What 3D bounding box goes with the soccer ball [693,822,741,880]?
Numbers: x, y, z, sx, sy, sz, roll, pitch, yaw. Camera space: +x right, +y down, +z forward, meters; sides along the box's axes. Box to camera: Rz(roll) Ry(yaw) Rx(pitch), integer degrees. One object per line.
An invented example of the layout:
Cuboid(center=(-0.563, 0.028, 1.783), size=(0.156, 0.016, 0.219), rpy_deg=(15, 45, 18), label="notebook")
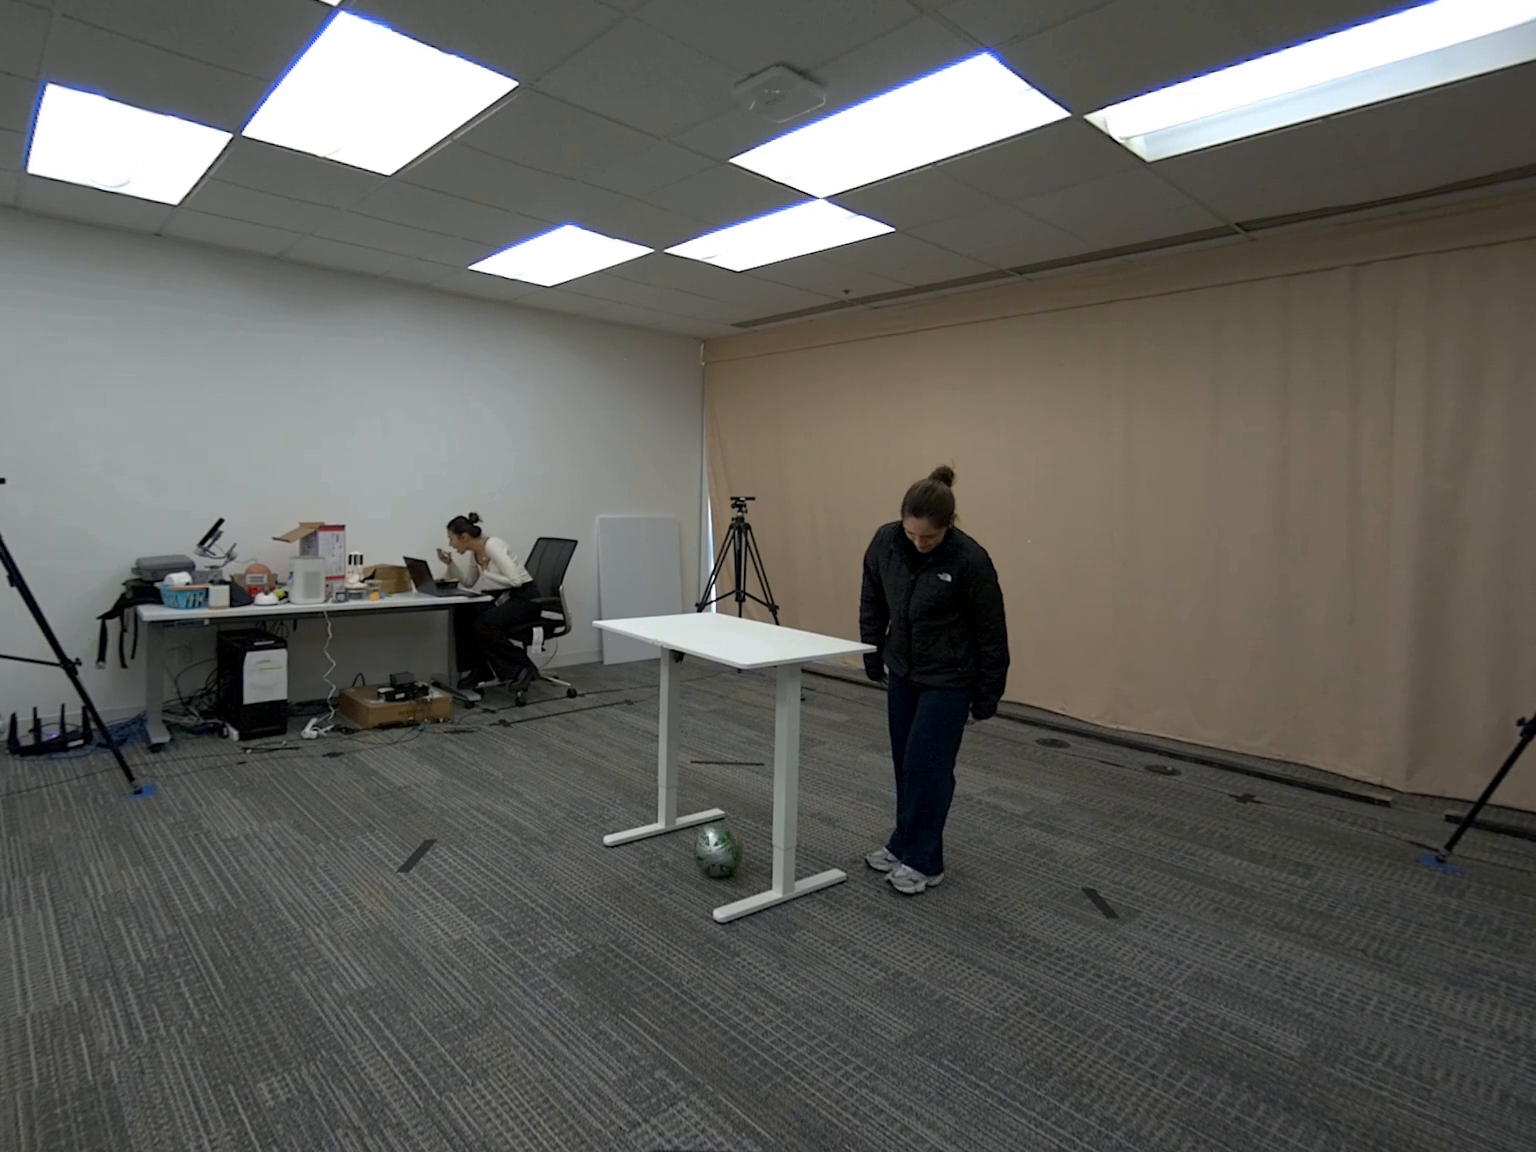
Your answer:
Cuboid(center=(-0.191, 1.002, 3.109), size=(0.187, 0.187, 0.188), rpy_deg=(1, 4, -1), label="soccer ball")
